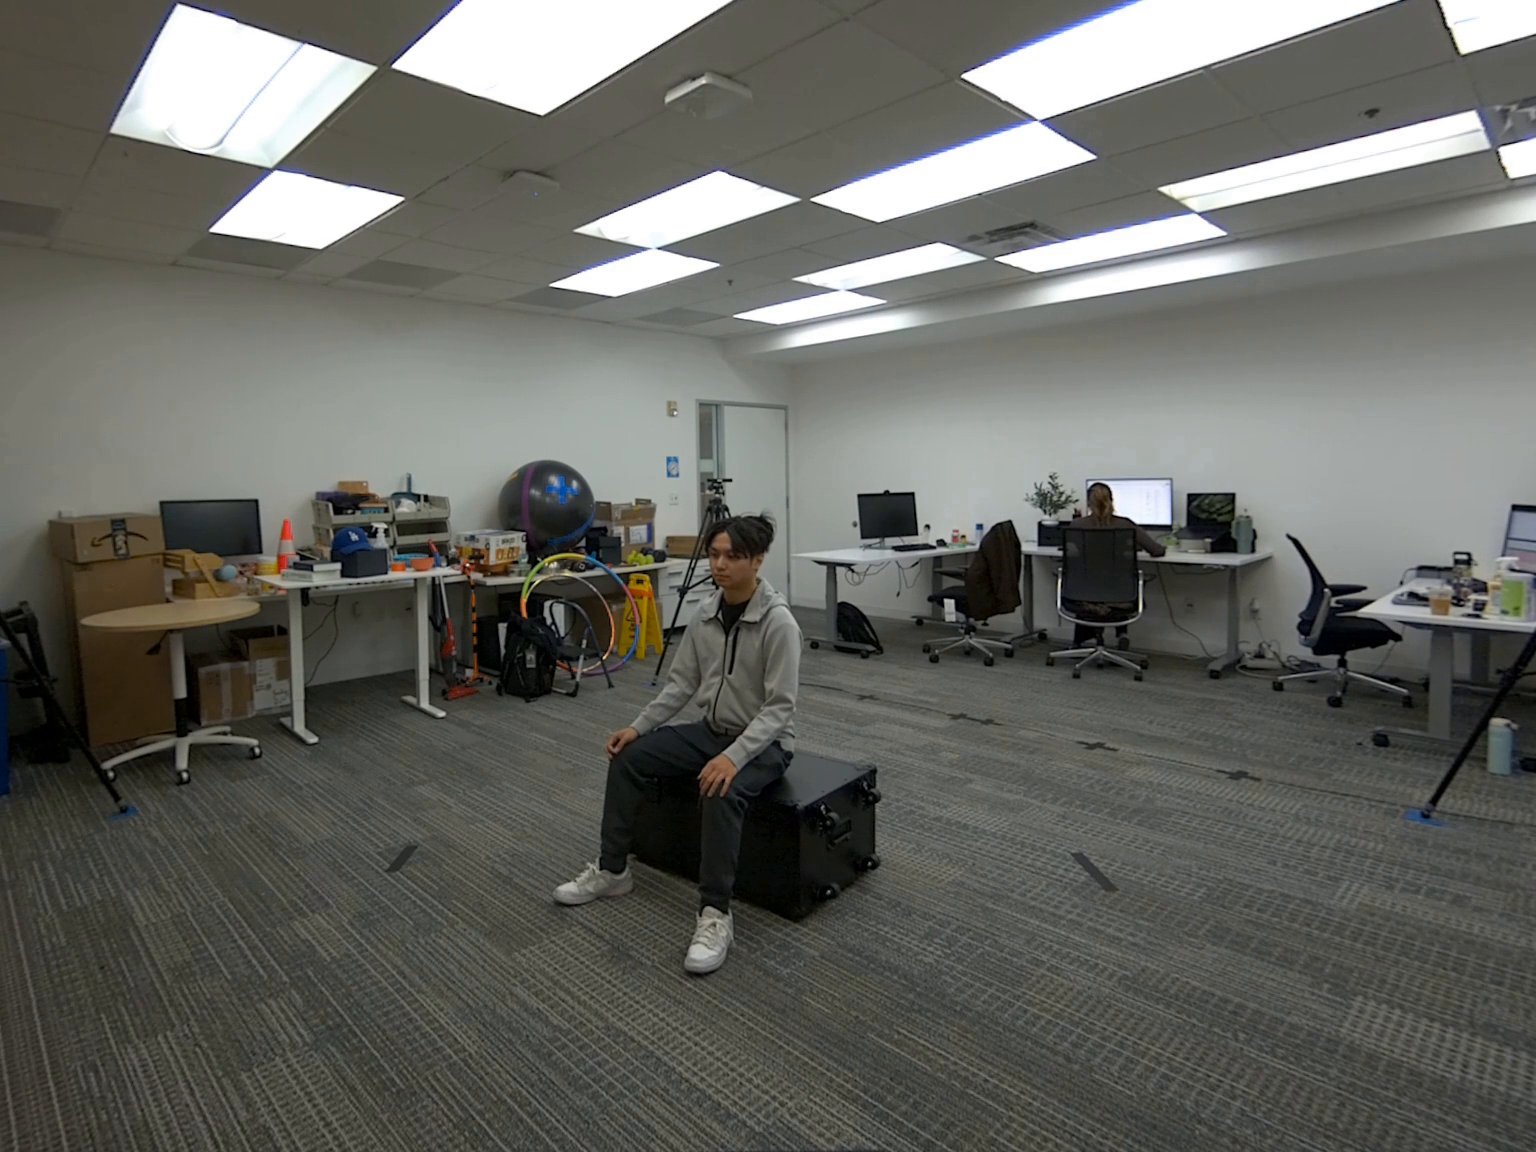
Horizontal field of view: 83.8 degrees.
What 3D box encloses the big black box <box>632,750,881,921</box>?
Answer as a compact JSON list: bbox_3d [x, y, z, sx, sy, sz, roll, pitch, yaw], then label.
[{"bbox_3d":[-0.090,0.861,3.114,0.887,0.395,0.508,4,7,38],"label":"big black box"}]
